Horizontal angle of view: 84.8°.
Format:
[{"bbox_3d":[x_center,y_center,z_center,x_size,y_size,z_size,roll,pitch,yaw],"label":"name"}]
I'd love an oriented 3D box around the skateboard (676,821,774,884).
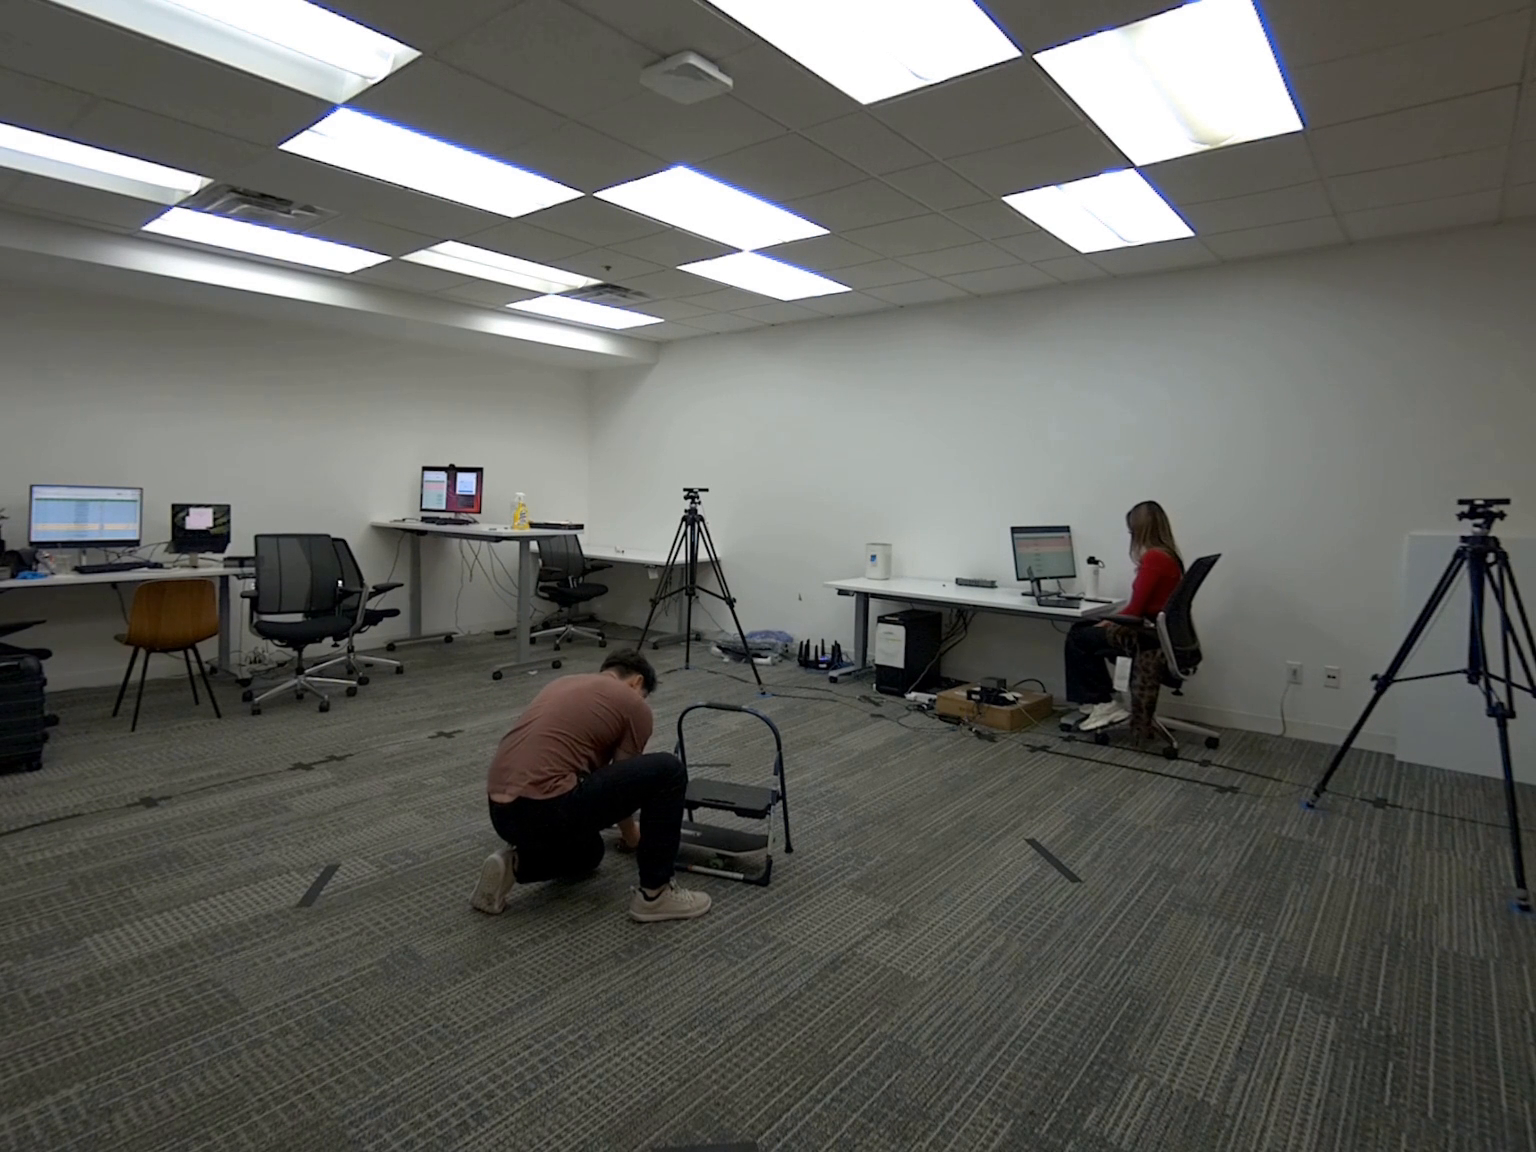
[{"bbox_3d":[-0.357,0.994,3.243,0.803,0.110,0.190,2,5,21],"label":"skateboard"}]
